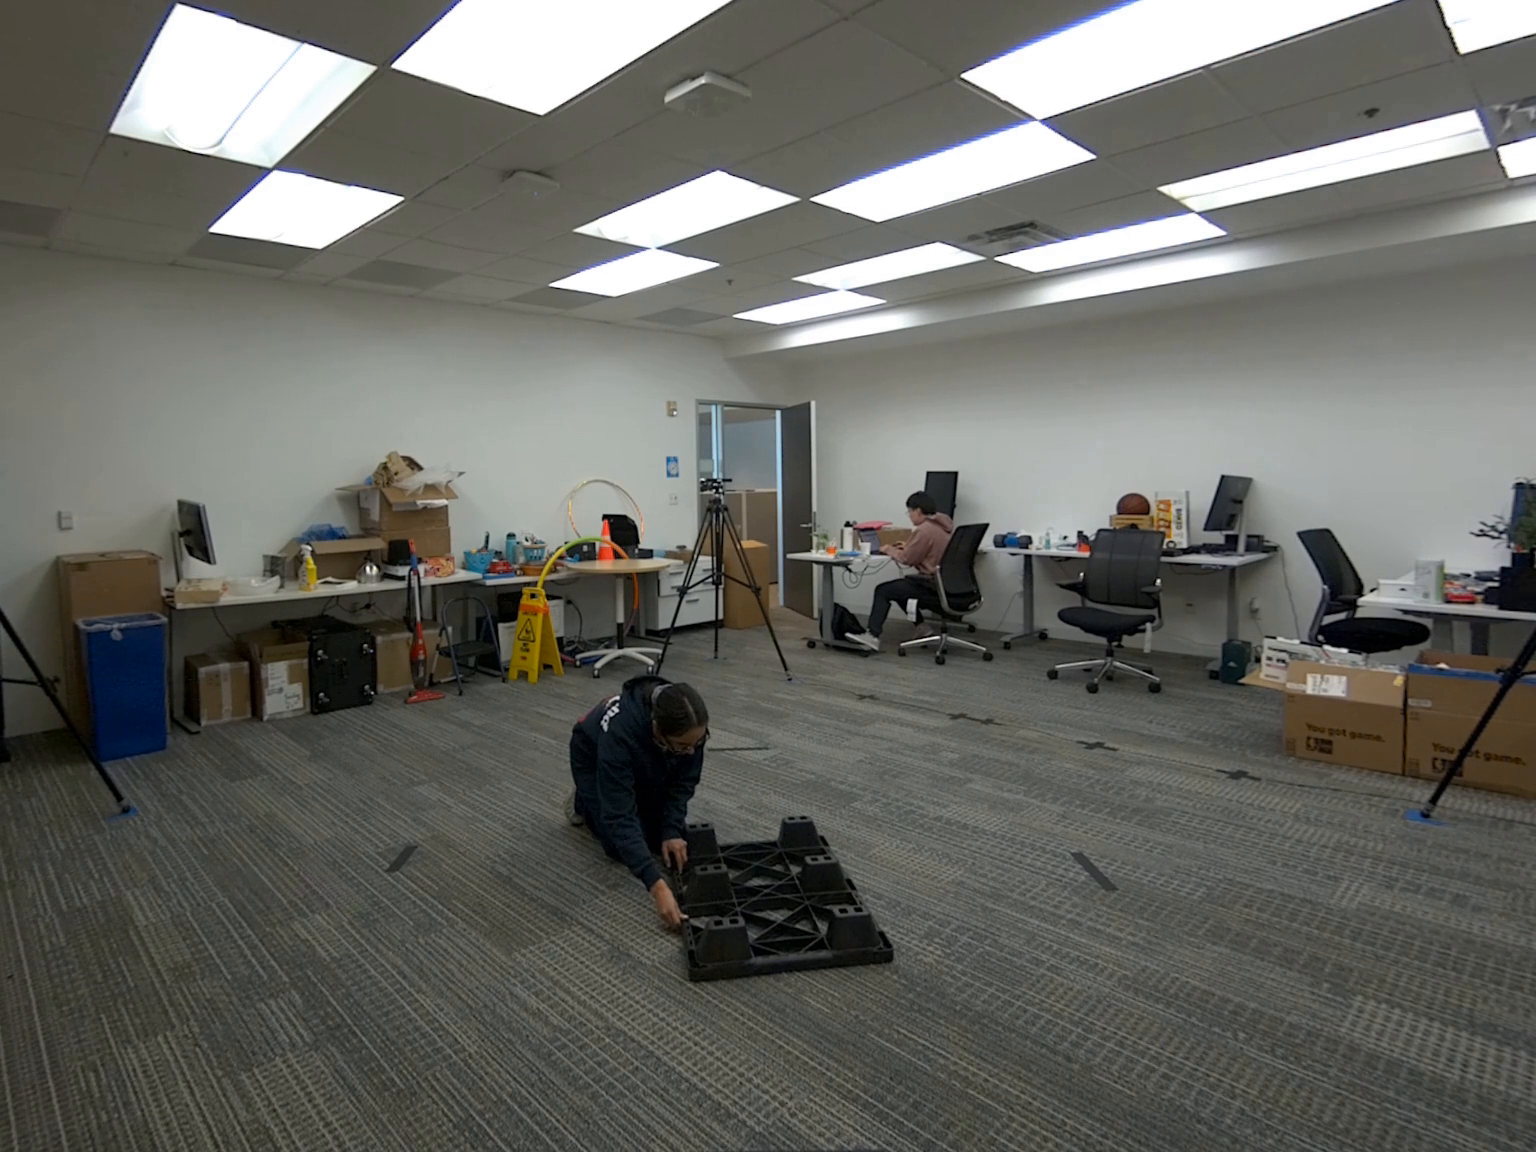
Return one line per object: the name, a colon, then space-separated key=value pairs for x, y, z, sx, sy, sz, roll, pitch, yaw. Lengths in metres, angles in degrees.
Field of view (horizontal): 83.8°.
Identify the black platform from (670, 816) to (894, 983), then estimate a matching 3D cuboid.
black platform: x=-0.009 y=1.011 z=2.804 sx=0.599 sy=0.142 sz=0.817 roll=-3 pitch=7 yaw=-11
